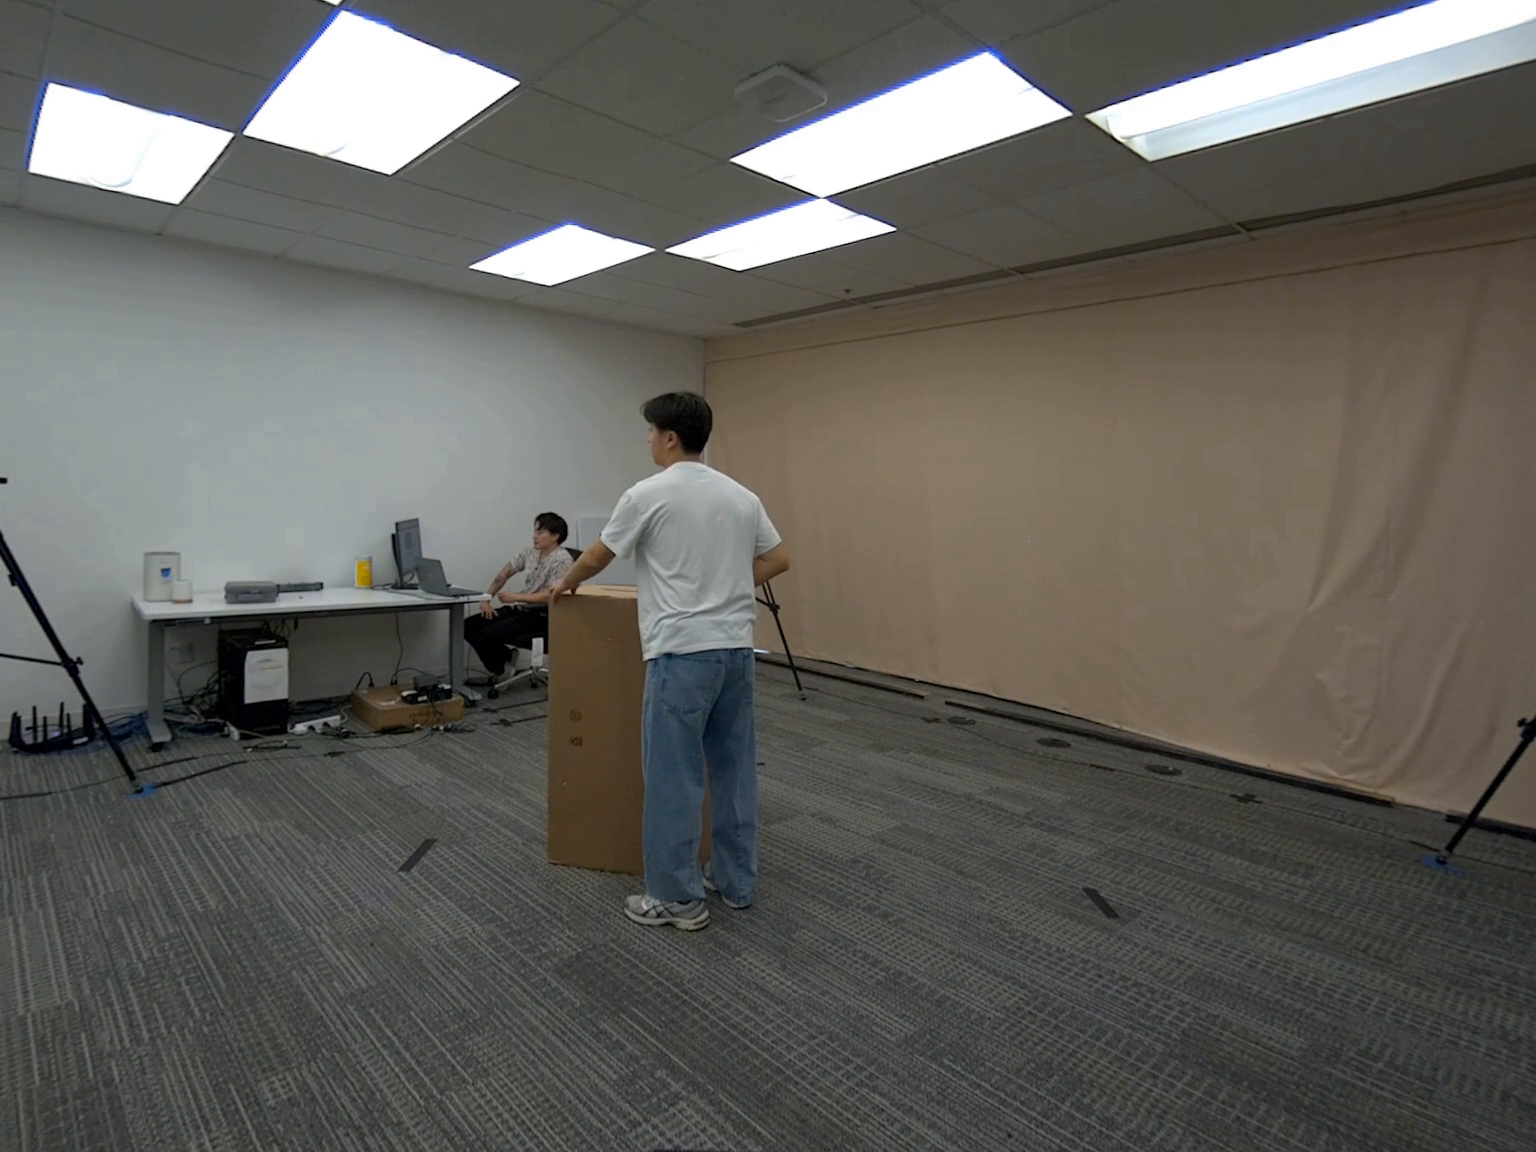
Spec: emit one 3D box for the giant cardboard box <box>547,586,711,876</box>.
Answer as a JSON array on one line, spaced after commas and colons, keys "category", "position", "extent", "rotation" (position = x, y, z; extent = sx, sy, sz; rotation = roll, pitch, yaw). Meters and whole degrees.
[{"category": "giant cardboard box", "position": [-0.515, 0.569, 3.297], "extent": [0.584, 1.023, 0.423], "rotation": [2, 3, 12]}]
